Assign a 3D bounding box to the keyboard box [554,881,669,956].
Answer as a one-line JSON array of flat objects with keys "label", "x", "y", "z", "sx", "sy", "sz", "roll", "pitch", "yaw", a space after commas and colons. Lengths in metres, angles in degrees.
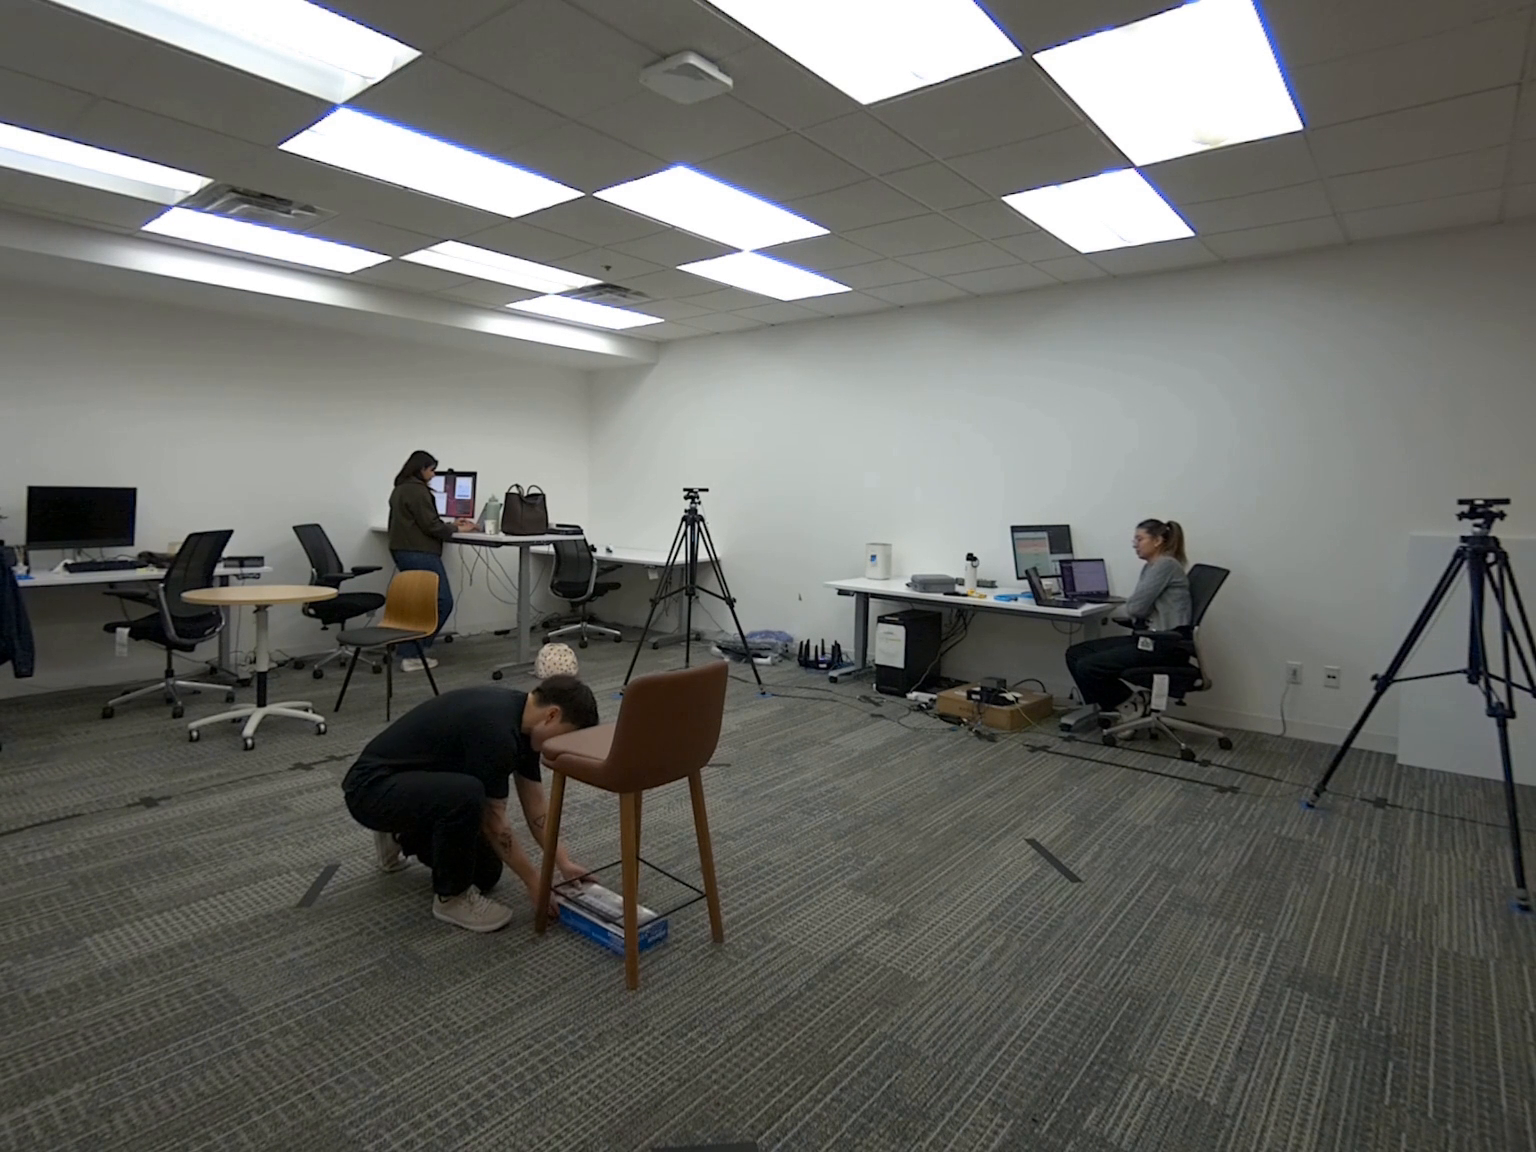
[{"label": "keyboard box", "x": -0.546, "y": 1.084, "z": 2.703, "sx": 0.452, "sy": 0.059, "sz": 0.171, "roll": 6, "pitch": 8, "yaw": 41}]
